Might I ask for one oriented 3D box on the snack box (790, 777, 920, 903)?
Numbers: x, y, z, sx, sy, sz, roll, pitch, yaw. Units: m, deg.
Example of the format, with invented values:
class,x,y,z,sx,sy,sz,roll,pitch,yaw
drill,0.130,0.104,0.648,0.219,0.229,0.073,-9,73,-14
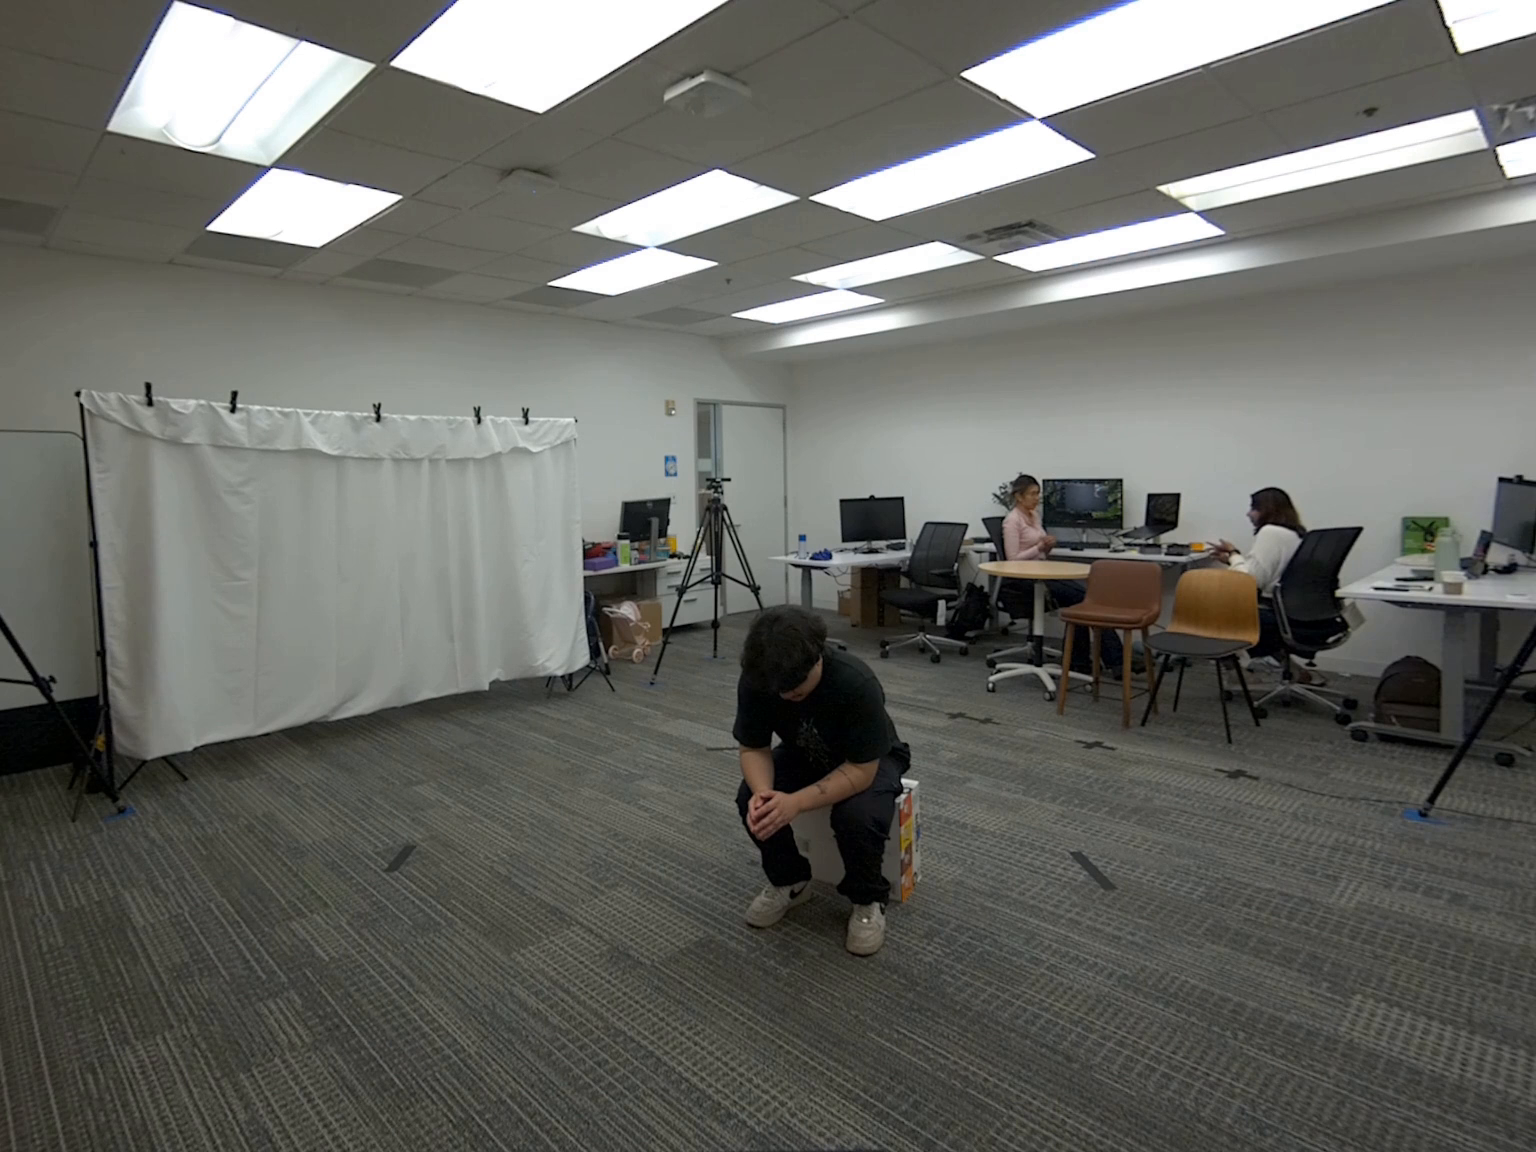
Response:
class,x,y,z,sx,sy,sz,roll,pitch,yaw
snack box,0.308,0.886,2.977,0.415,0.339,0.201,1,3,30
